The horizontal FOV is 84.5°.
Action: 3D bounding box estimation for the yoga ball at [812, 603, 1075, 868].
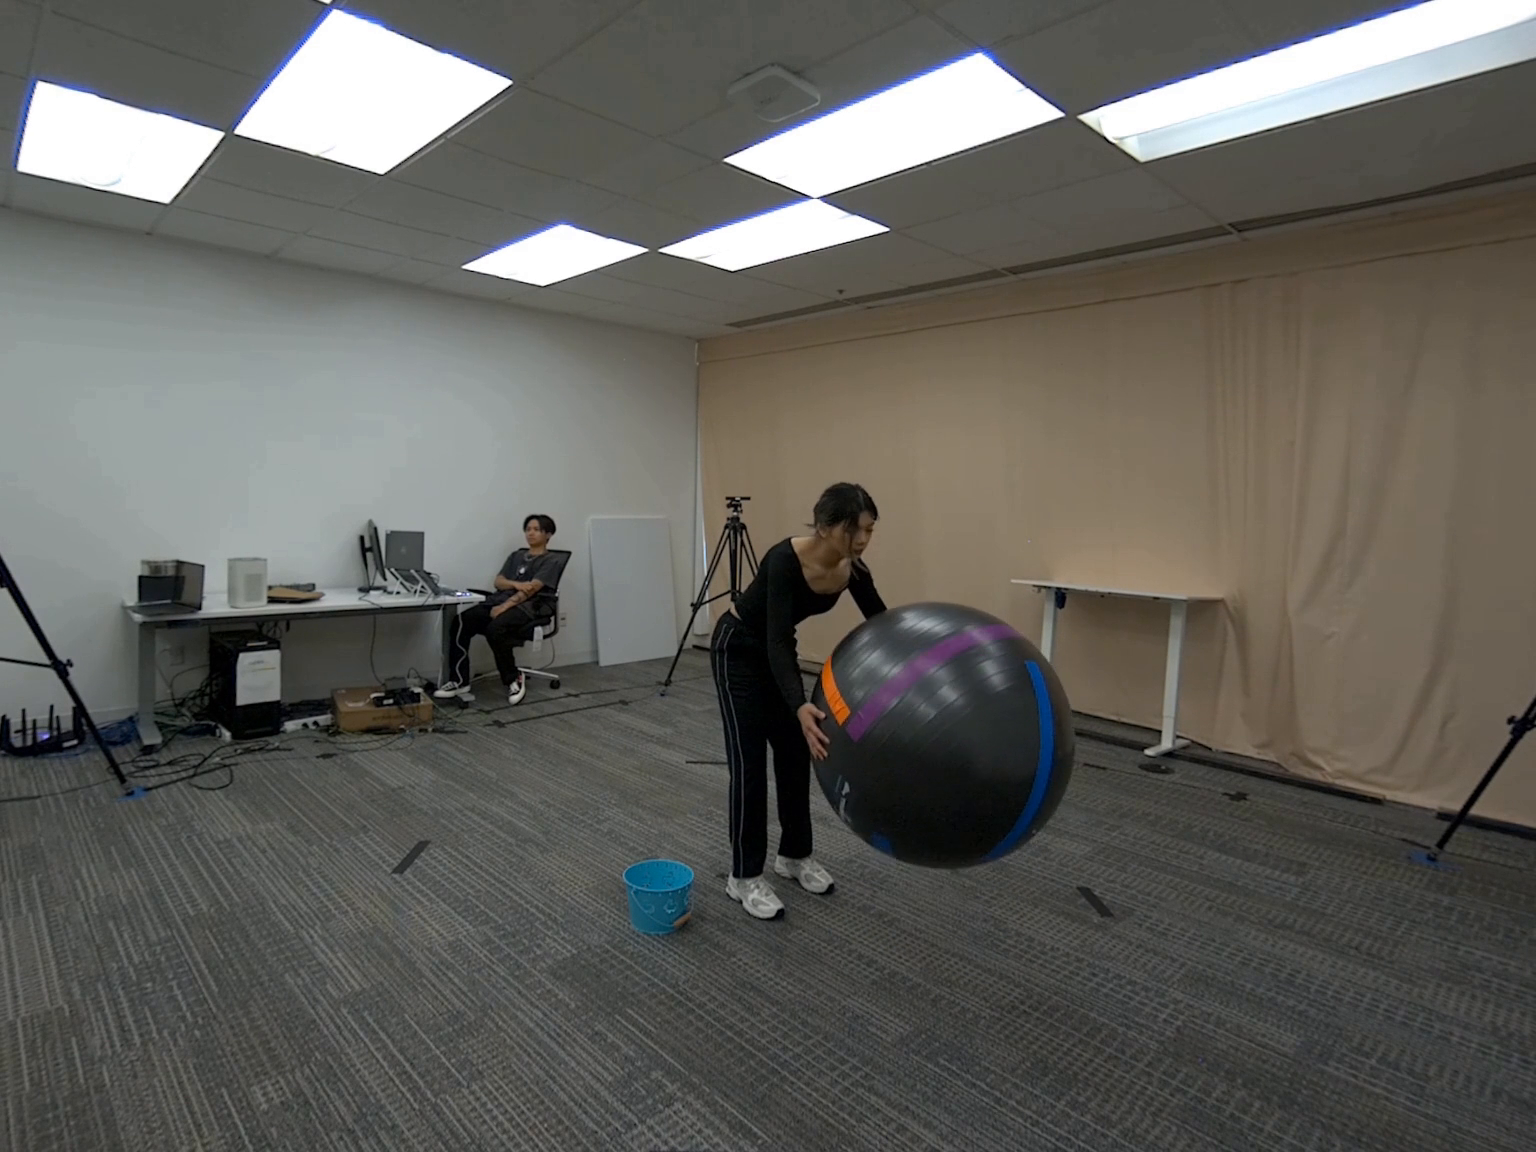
[{"bbox_3d":[0.494,0.462,2.455,0.757,0.756,0.761,1,4,-1],"label":"yoga ball"}]
